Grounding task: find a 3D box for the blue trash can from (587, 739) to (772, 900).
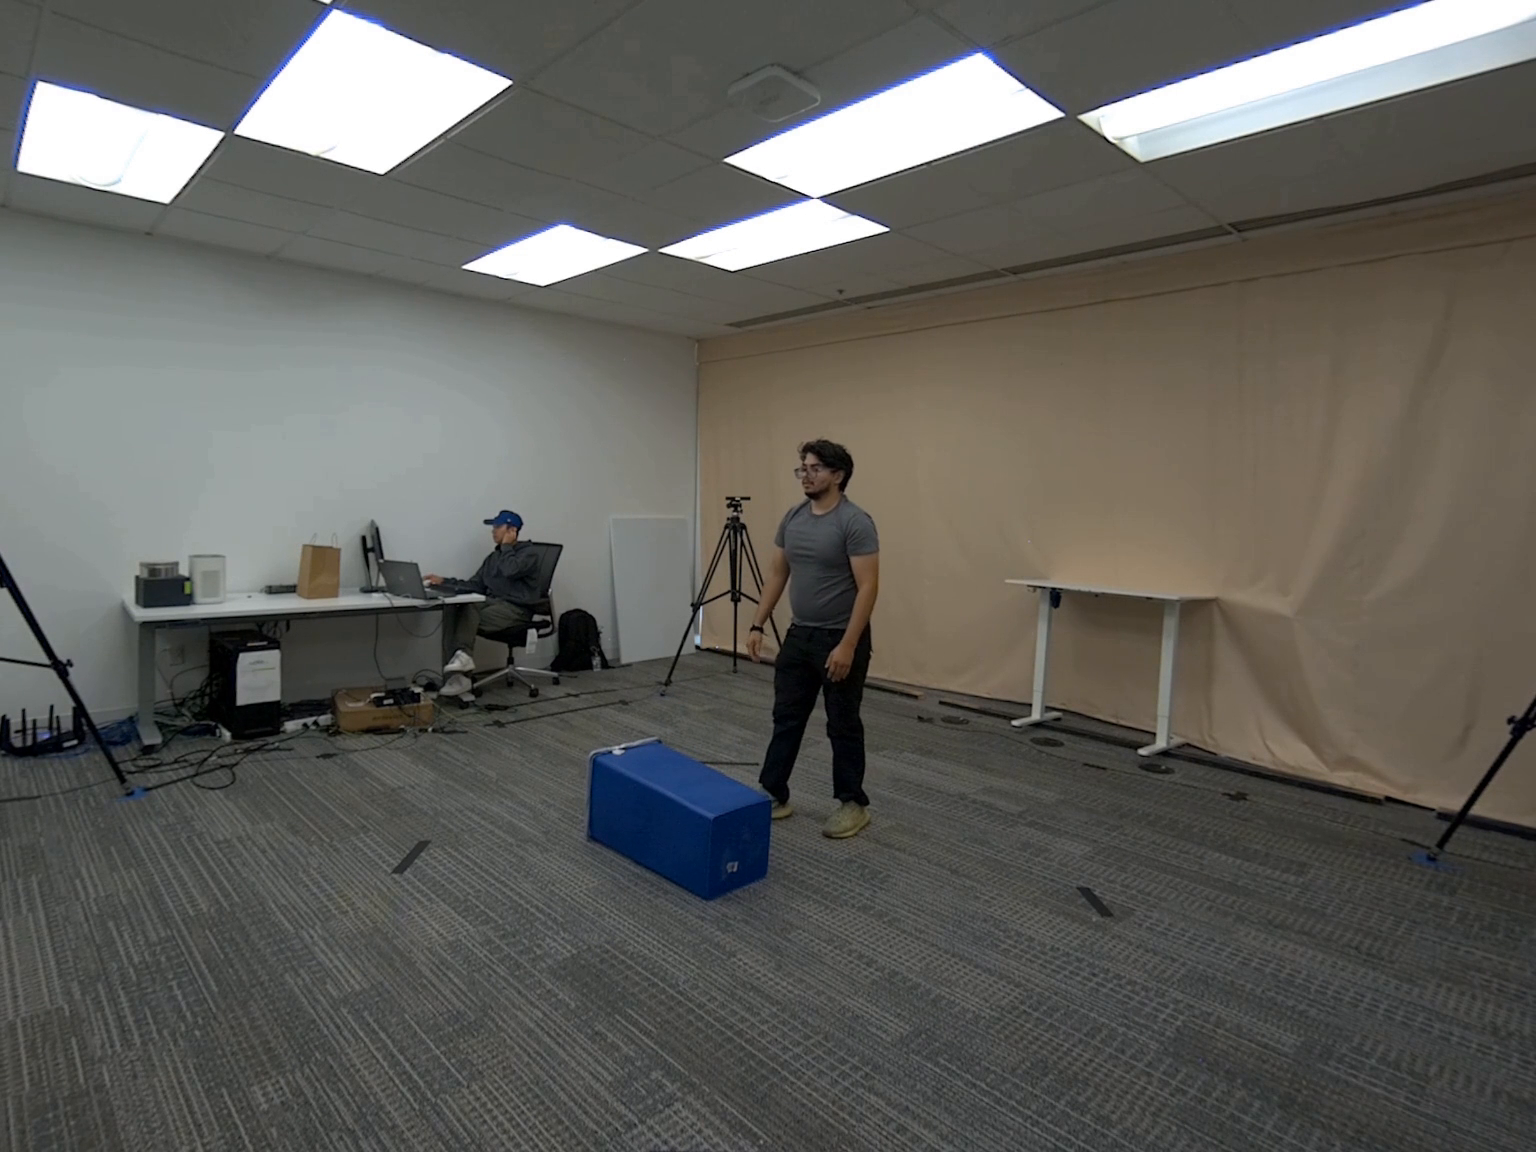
[{"bbox_3d":[-0.361,0.918,3.235,0.365,0.377,0.733,-2,7,-43],"label":"blue trash can"}]
